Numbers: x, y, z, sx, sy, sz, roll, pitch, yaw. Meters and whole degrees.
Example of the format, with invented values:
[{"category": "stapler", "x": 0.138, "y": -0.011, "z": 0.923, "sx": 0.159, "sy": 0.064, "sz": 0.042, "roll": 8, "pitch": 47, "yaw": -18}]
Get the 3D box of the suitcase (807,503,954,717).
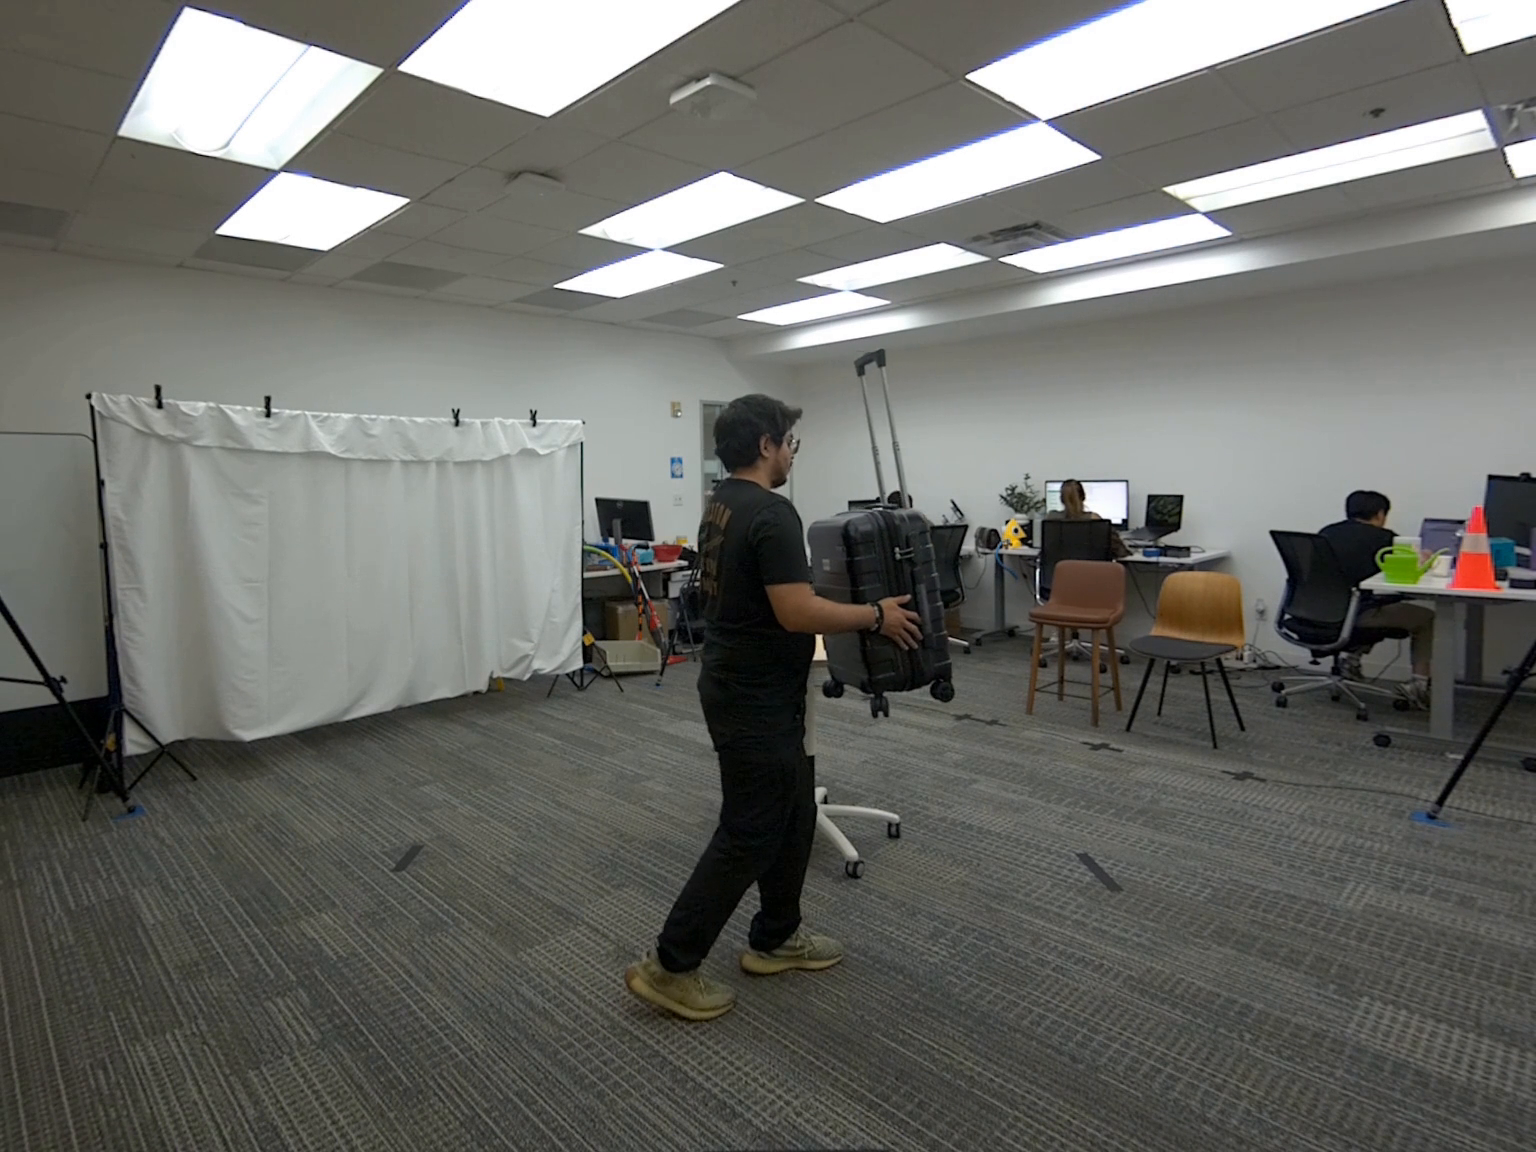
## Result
[{"category": "suitcase", "x": 0.268, "y": -0.130, "z": 2.434, "sx": 0.255, "sy": 0.976, "sz": 0.388, "roll": -10, "pitch": 2, "yaw": -12}]
